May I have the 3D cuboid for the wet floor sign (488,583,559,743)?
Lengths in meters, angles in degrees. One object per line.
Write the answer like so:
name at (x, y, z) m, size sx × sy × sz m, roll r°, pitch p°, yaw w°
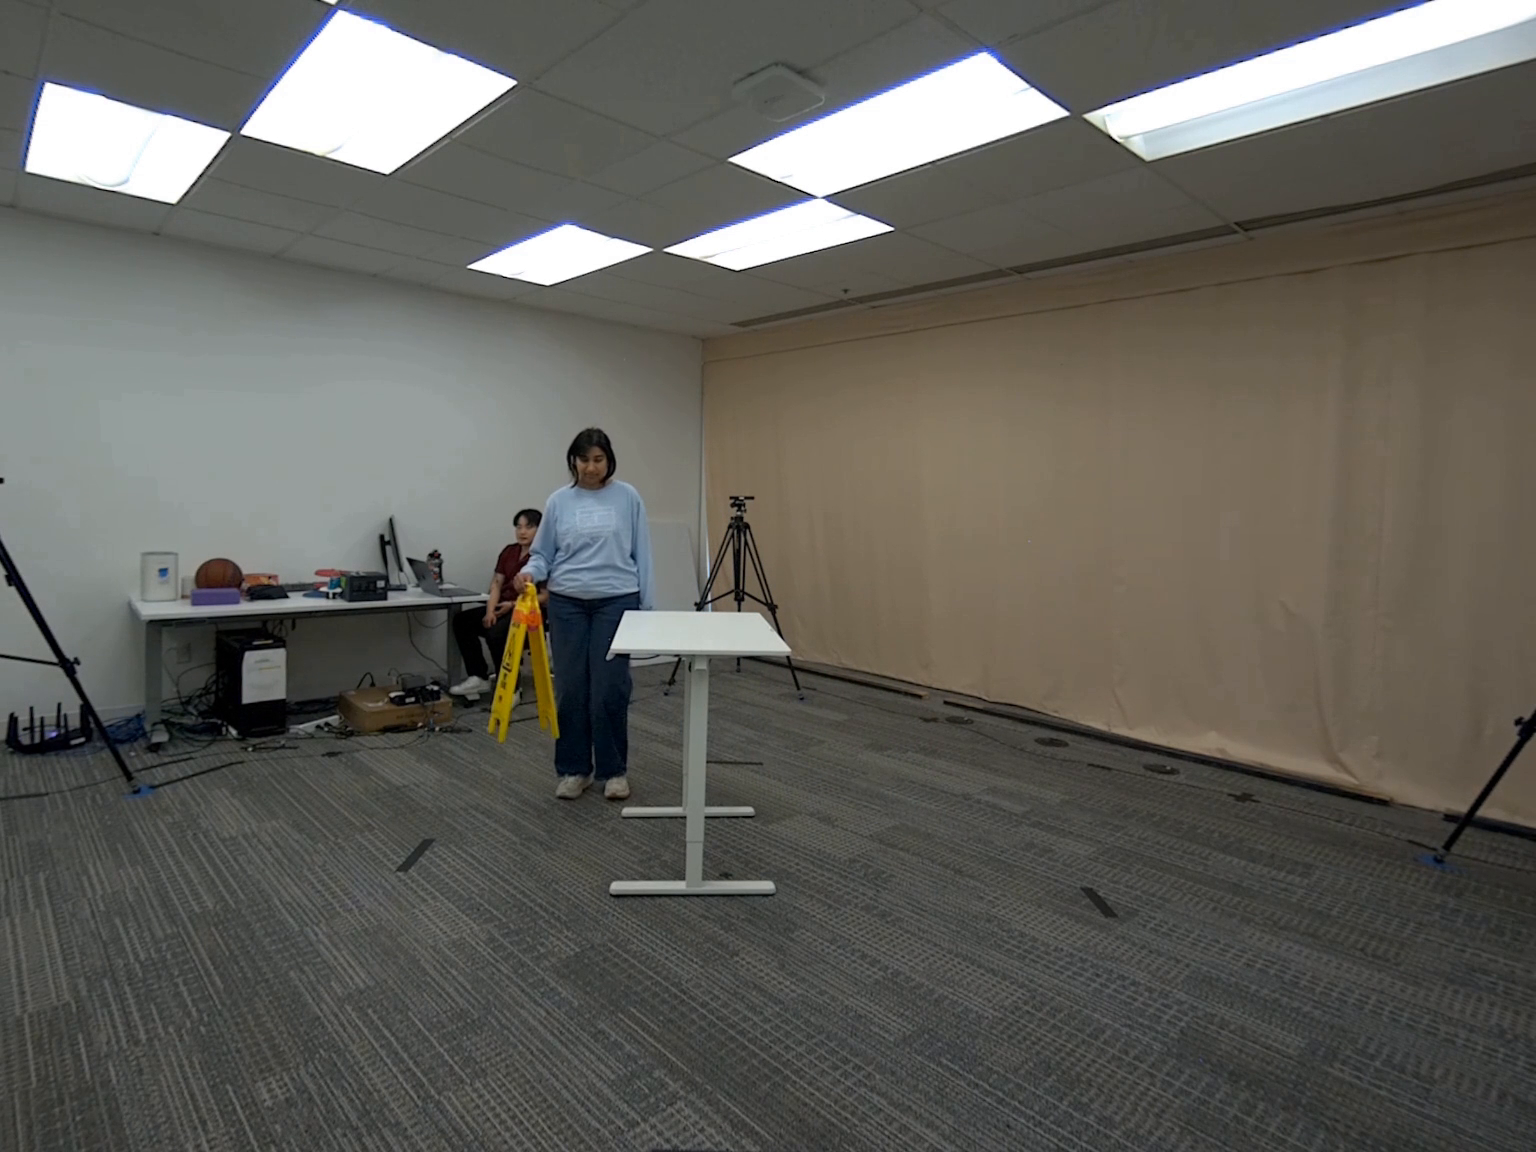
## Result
wet floor sign at (-1.064, 0.353, 3.627) m, size 0.284 × 0.647 × 0.287 m, roll 1°, pitch -1°, yaw -27°
